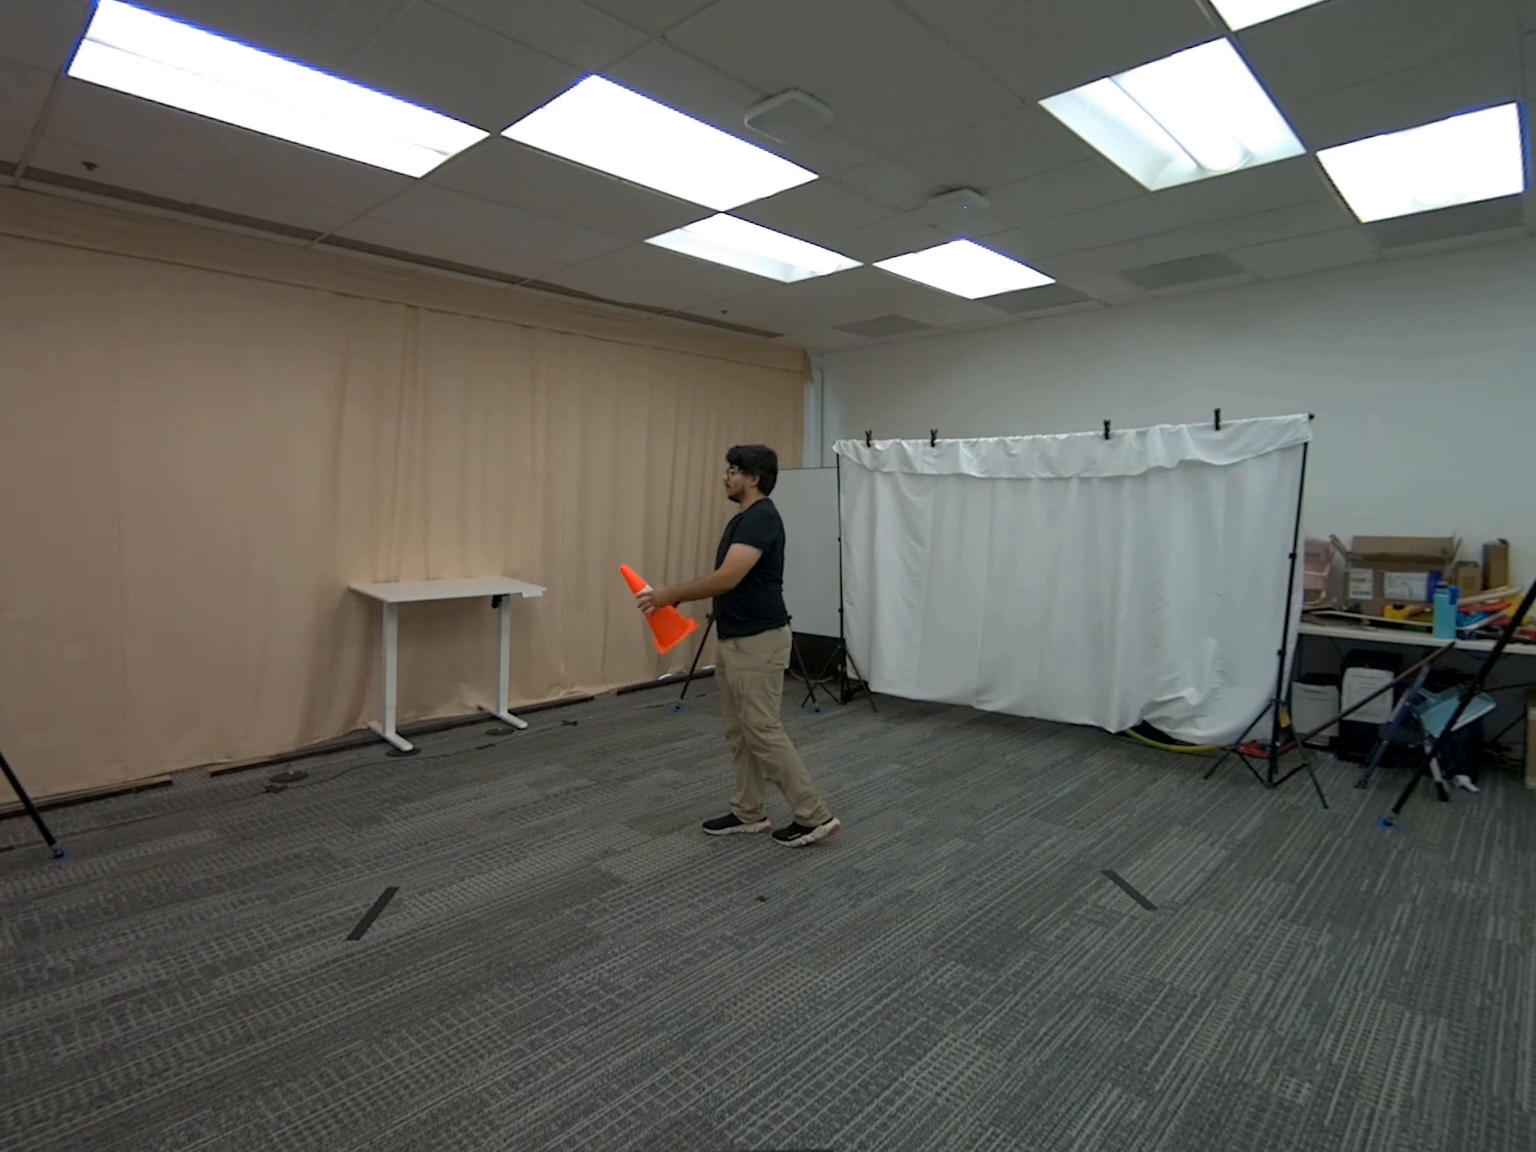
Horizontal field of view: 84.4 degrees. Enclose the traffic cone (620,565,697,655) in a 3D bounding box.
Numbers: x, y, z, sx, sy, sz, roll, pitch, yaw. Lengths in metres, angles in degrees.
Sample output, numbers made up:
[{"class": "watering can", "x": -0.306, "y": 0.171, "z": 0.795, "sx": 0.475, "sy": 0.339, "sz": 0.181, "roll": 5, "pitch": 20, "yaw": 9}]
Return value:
[{"class": "traffic cone", "x": -0.491, "y": 0.116, "z": 3.571, "sx": 0.204, "sy": 0.377, "sz": 0.207, "roll": -38, "pitch": 15, "yaw": -5}]
